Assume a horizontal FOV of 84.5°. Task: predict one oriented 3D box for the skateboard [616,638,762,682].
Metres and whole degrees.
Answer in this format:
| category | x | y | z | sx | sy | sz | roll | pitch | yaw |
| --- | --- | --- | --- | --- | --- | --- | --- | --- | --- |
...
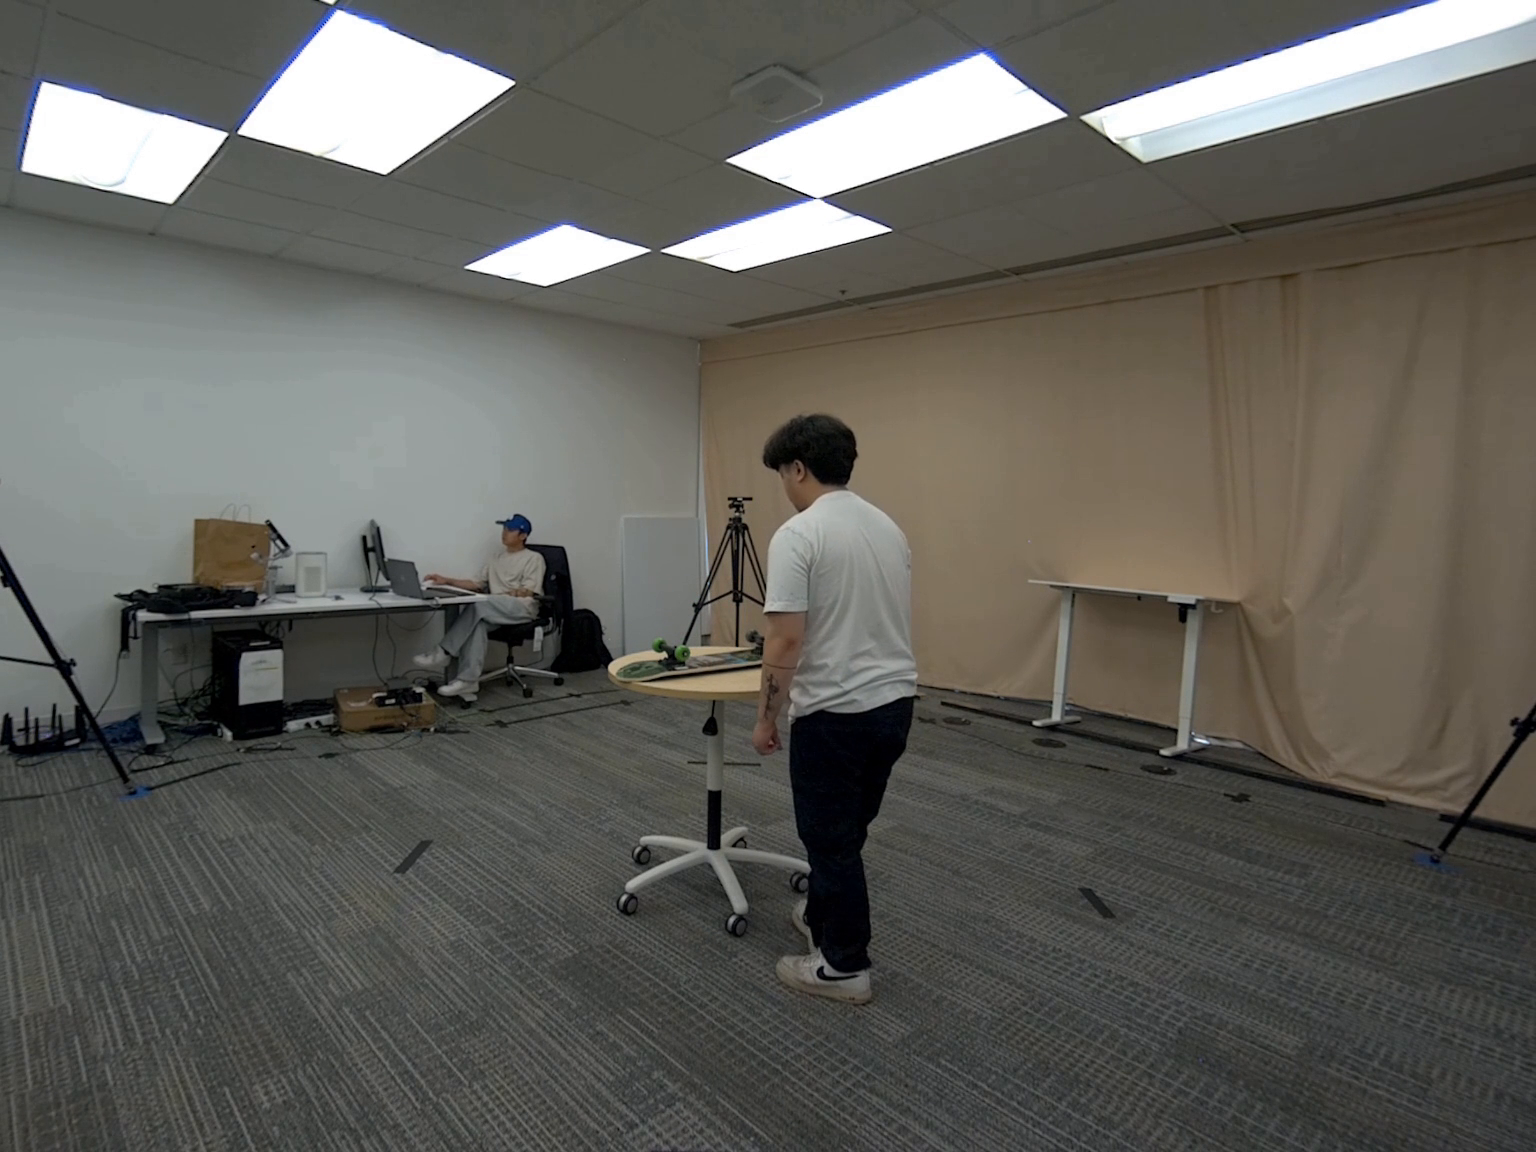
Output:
| category | x | y | z | sx | sy | sz | roll | pitch | yaw |
| --- | --- | --- | --- | --- | --- | --- | --- | --- | --- |
| skateboard | -0.171 | 0.271 | 2.962 | 0.769 | 0.110 | 0.198 | -3 | 8 | -34 |
